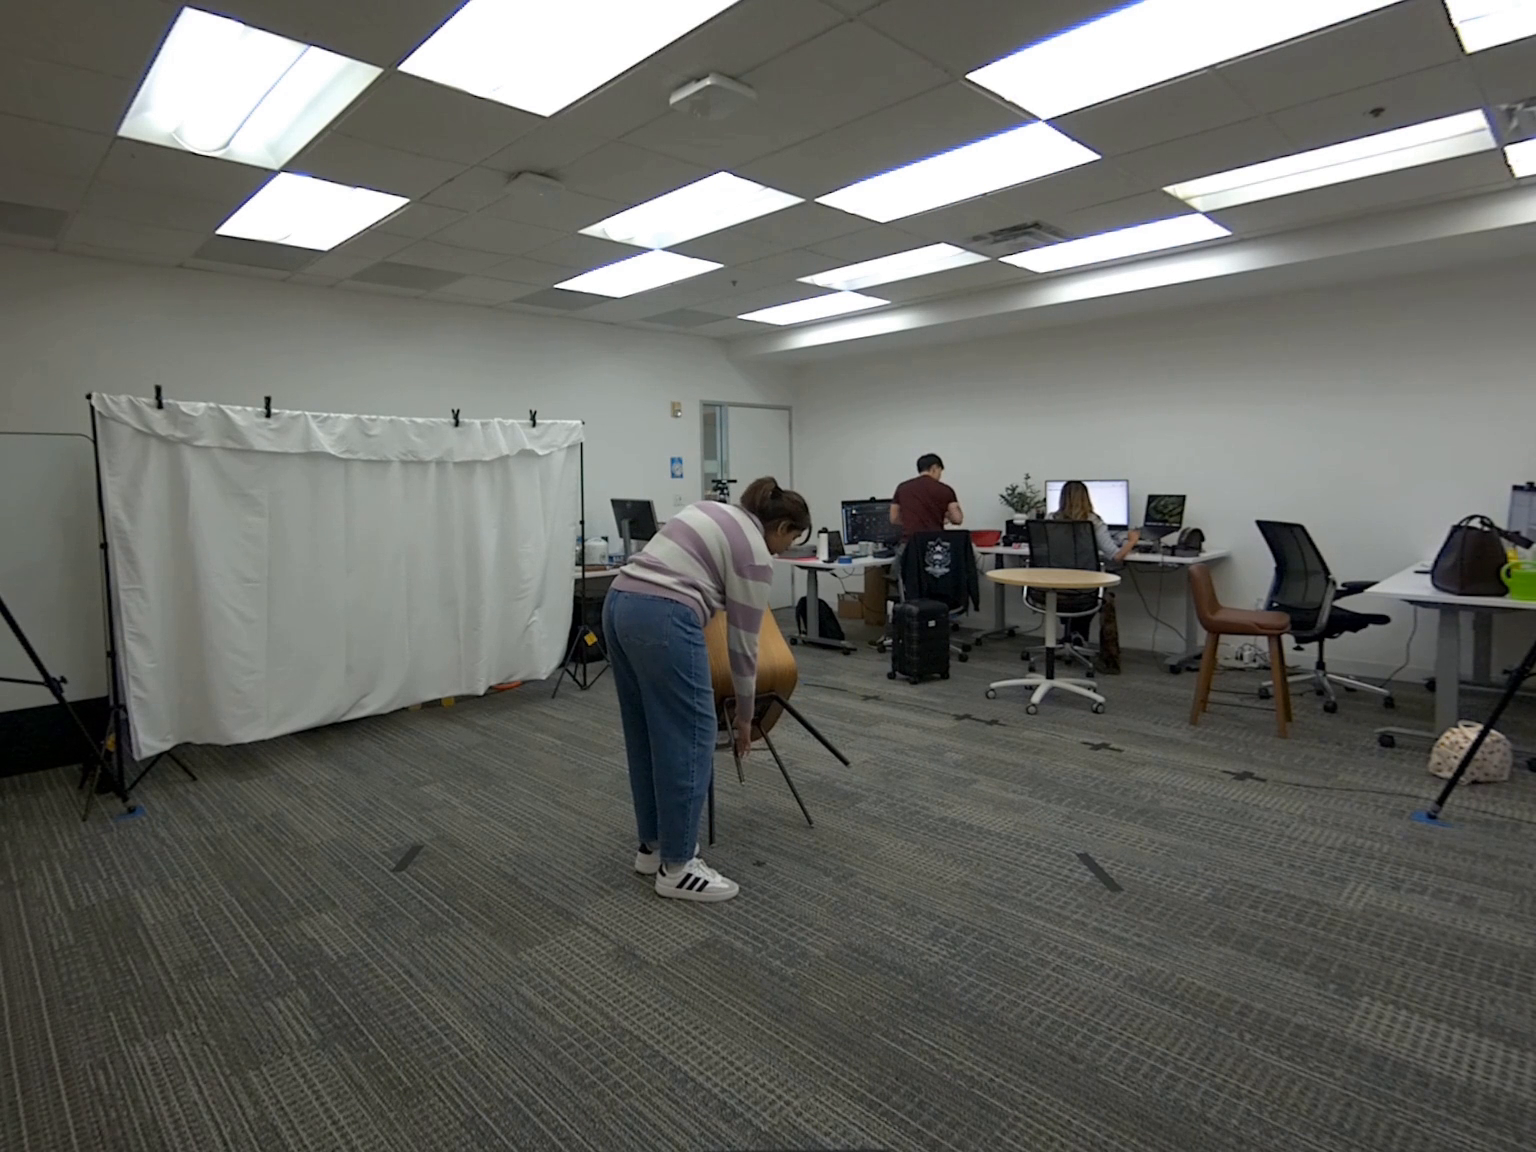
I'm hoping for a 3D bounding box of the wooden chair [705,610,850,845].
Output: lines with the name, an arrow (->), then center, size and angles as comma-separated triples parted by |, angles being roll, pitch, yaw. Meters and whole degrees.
wooden chair -> -0.103, 0.561, 3.480 | 0.468, 0.908, 0.516 | -4, -40, -25
